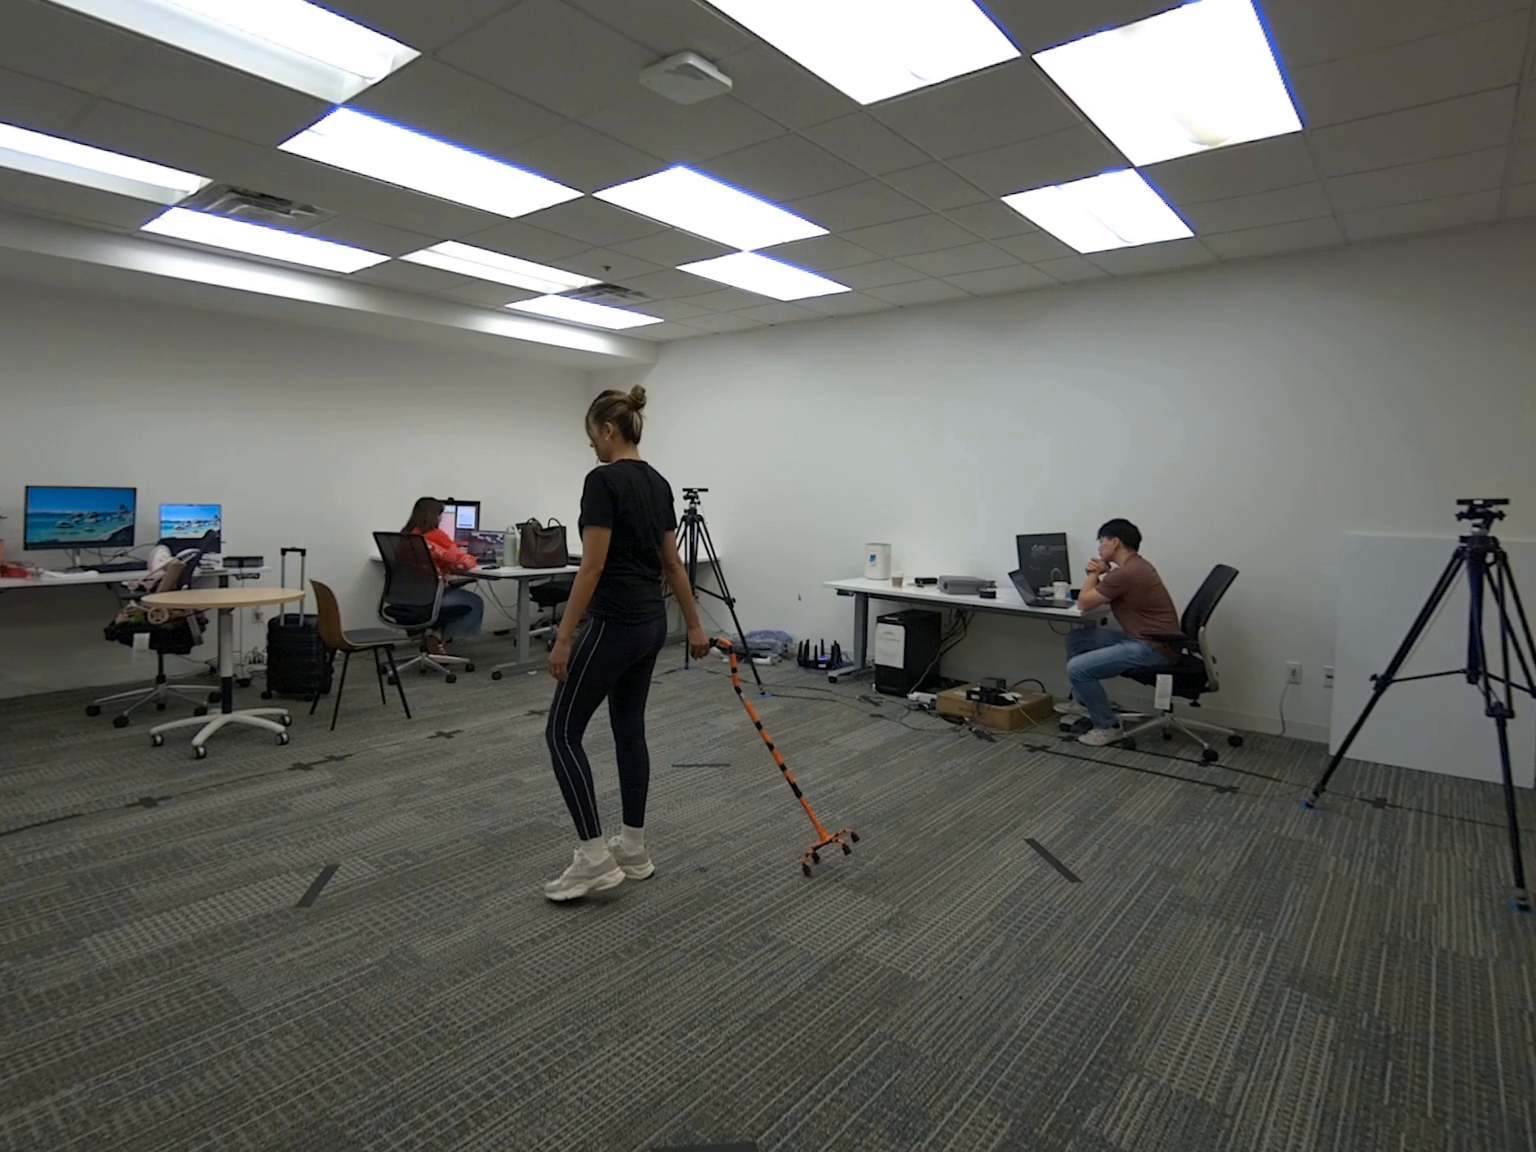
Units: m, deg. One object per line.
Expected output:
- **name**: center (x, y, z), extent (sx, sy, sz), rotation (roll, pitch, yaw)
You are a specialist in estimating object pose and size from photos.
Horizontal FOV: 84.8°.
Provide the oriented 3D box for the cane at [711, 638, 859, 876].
- **cane**: center (0.001, 0.641, 3.180), extent (0.207, 0.919, 0.149), rotation (-33, -9, 16)
